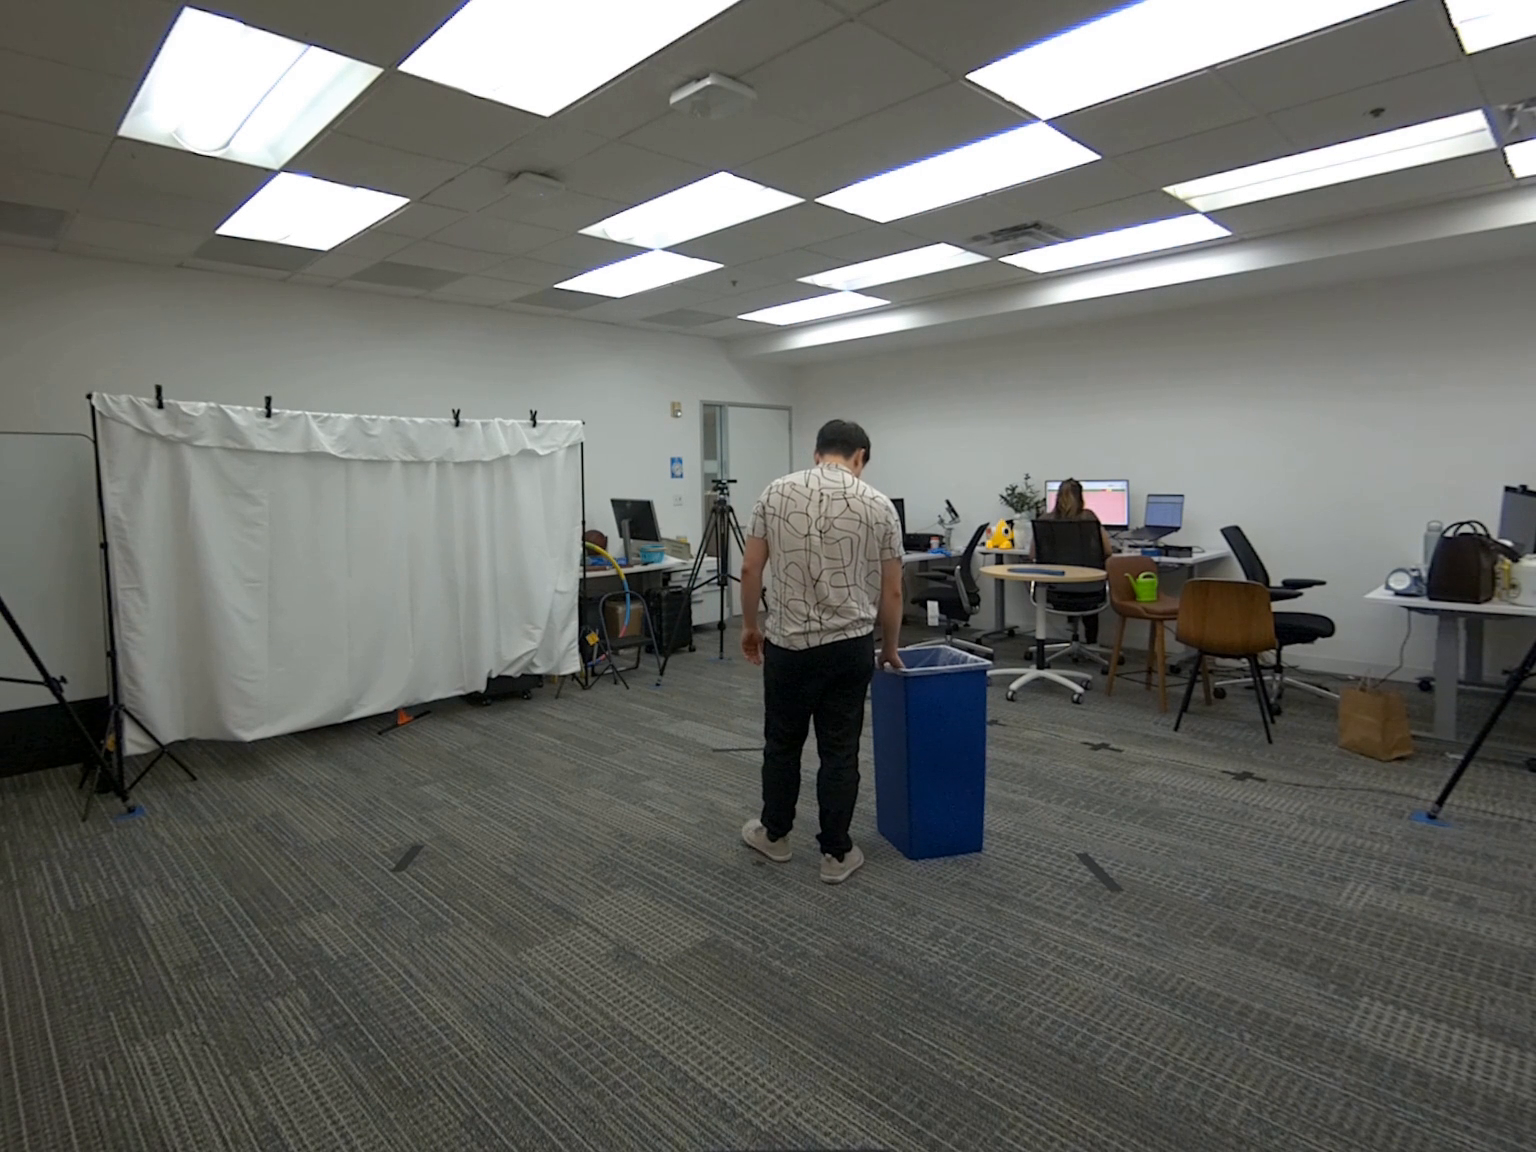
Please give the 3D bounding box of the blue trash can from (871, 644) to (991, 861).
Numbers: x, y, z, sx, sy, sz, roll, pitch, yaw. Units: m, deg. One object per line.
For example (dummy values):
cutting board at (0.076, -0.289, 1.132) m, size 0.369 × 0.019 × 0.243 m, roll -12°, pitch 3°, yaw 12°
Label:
blue trash can at (0.608, 0.661, 3.265) m, size 0.369 × 0.711 × 0.385 m, roll -2°, pitch 4°, yaw -16°
